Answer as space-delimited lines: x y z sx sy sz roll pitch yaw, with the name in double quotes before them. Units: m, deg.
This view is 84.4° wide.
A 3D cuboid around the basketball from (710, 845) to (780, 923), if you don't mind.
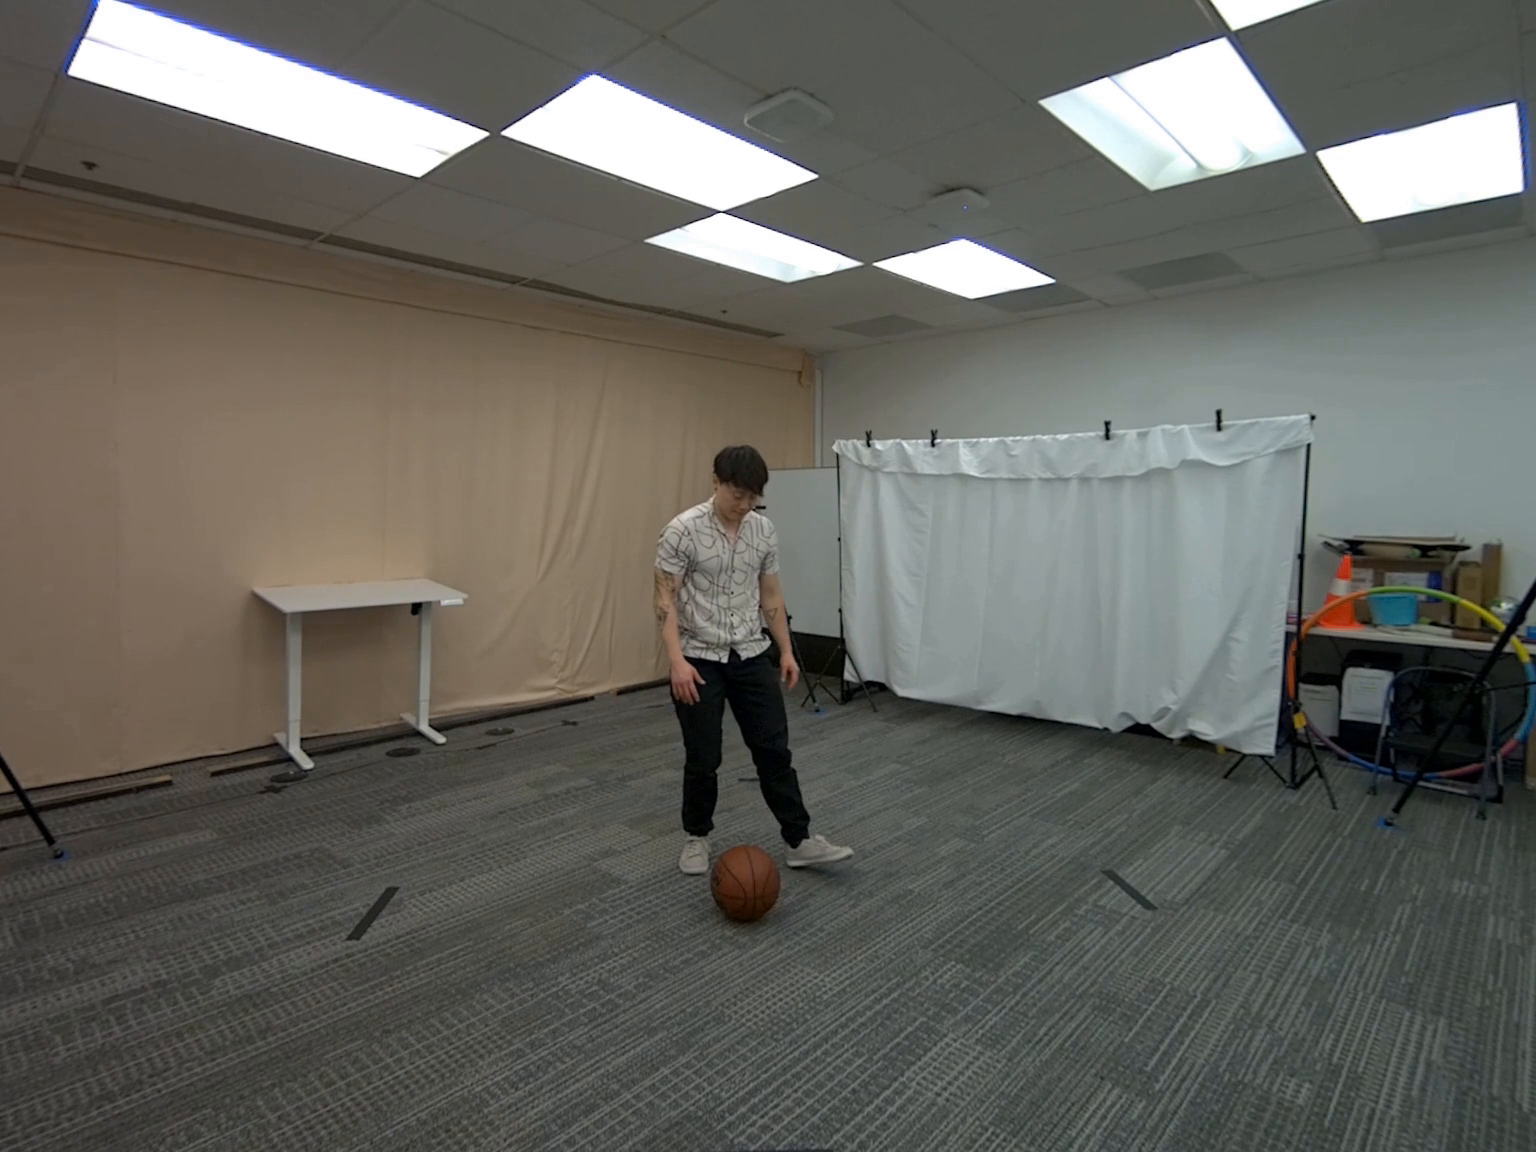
"basketball" -0.072 1.032 2.848 0.236 0.235 0.237 0 4 -2
